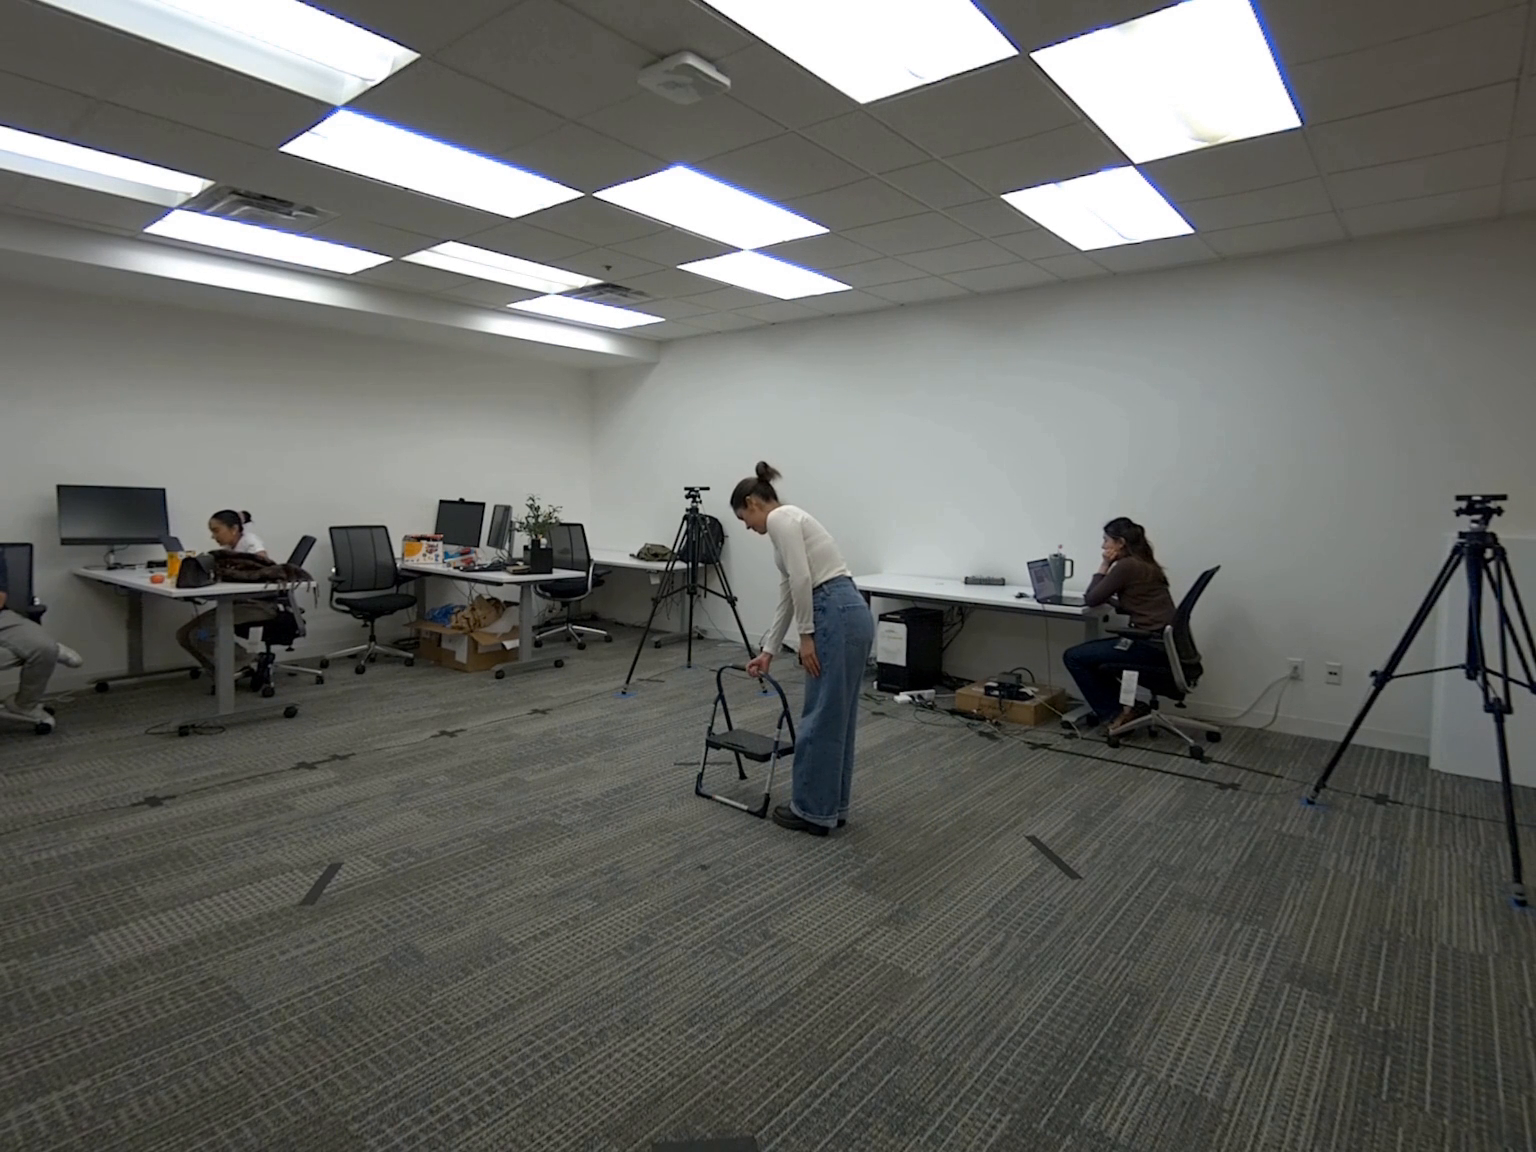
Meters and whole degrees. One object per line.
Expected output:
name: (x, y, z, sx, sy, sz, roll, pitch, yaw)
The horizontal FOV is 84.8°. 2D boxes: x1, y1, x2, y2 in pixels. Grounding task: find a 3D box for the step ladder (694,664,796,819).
step ladder: (-0.074, 0.692, 3.837, 0.445, 0.605, 0.339, 3, 4, 41)
